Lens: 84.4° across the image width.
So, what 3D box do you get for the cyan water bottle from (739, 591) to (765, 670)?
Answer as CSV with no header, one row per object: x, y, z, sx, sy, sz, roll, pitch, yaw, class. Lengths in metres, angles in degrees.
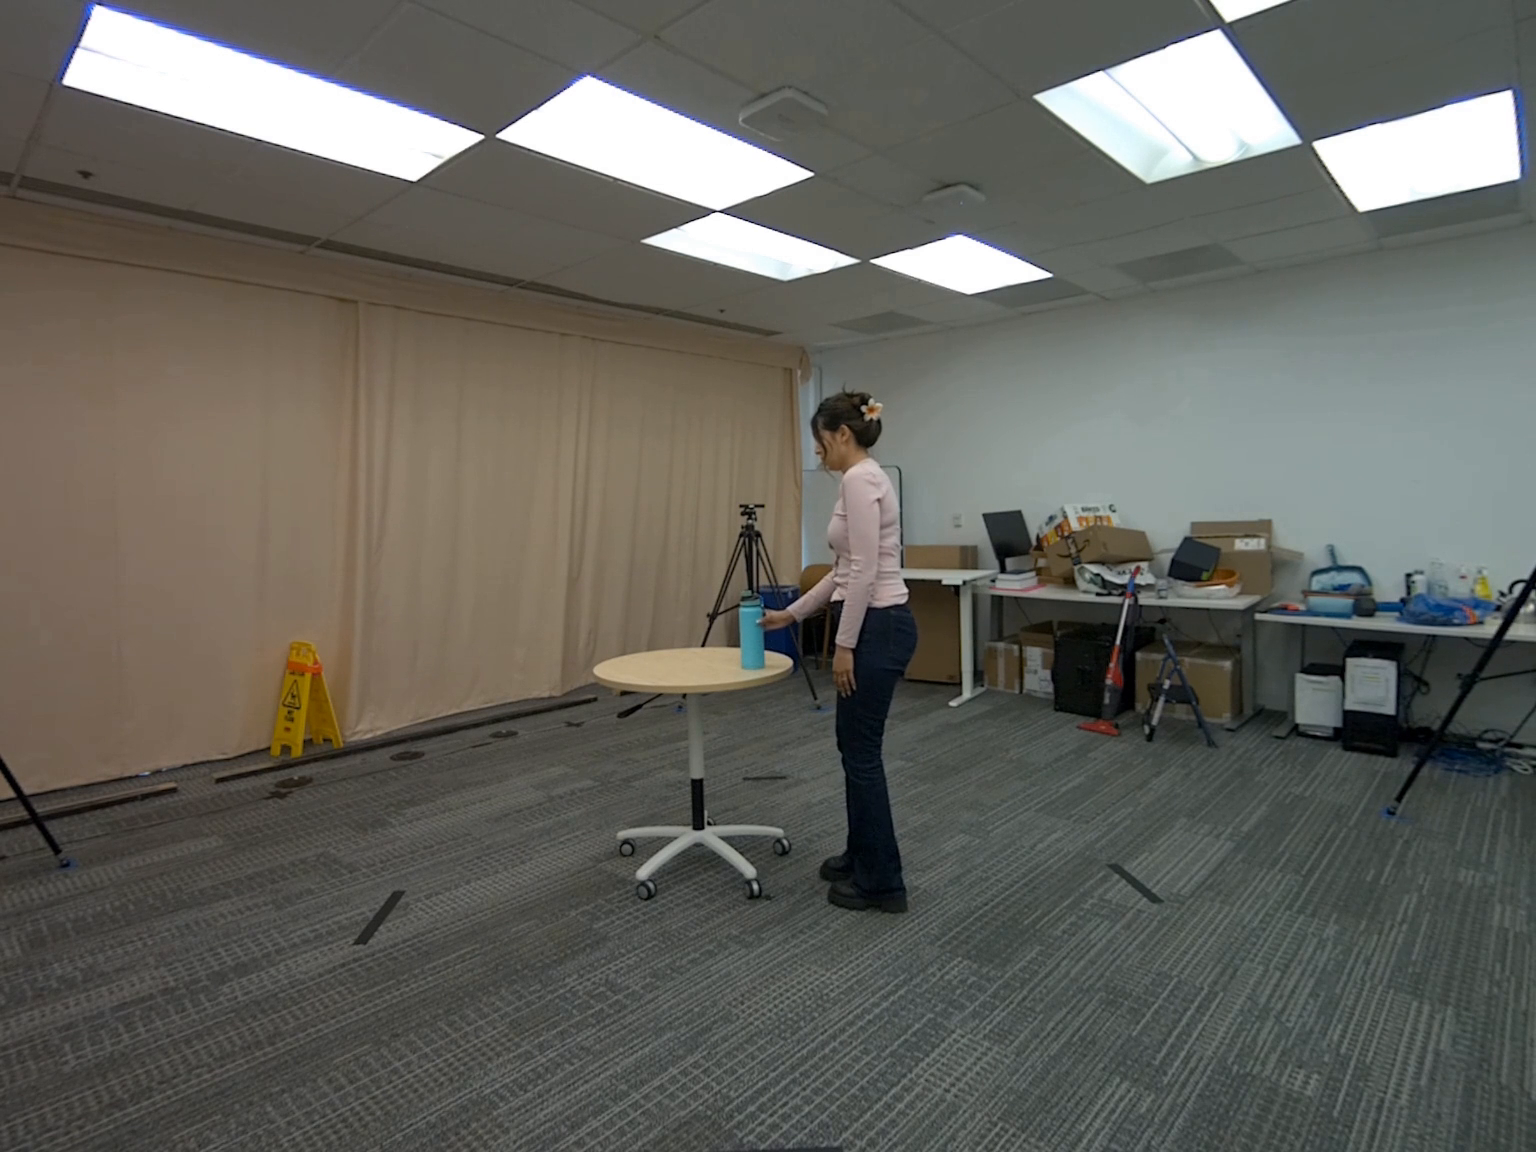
-0.053,0.207,3.132,0.092,0.282,0.093,0,6,-2,cyan water bottle
